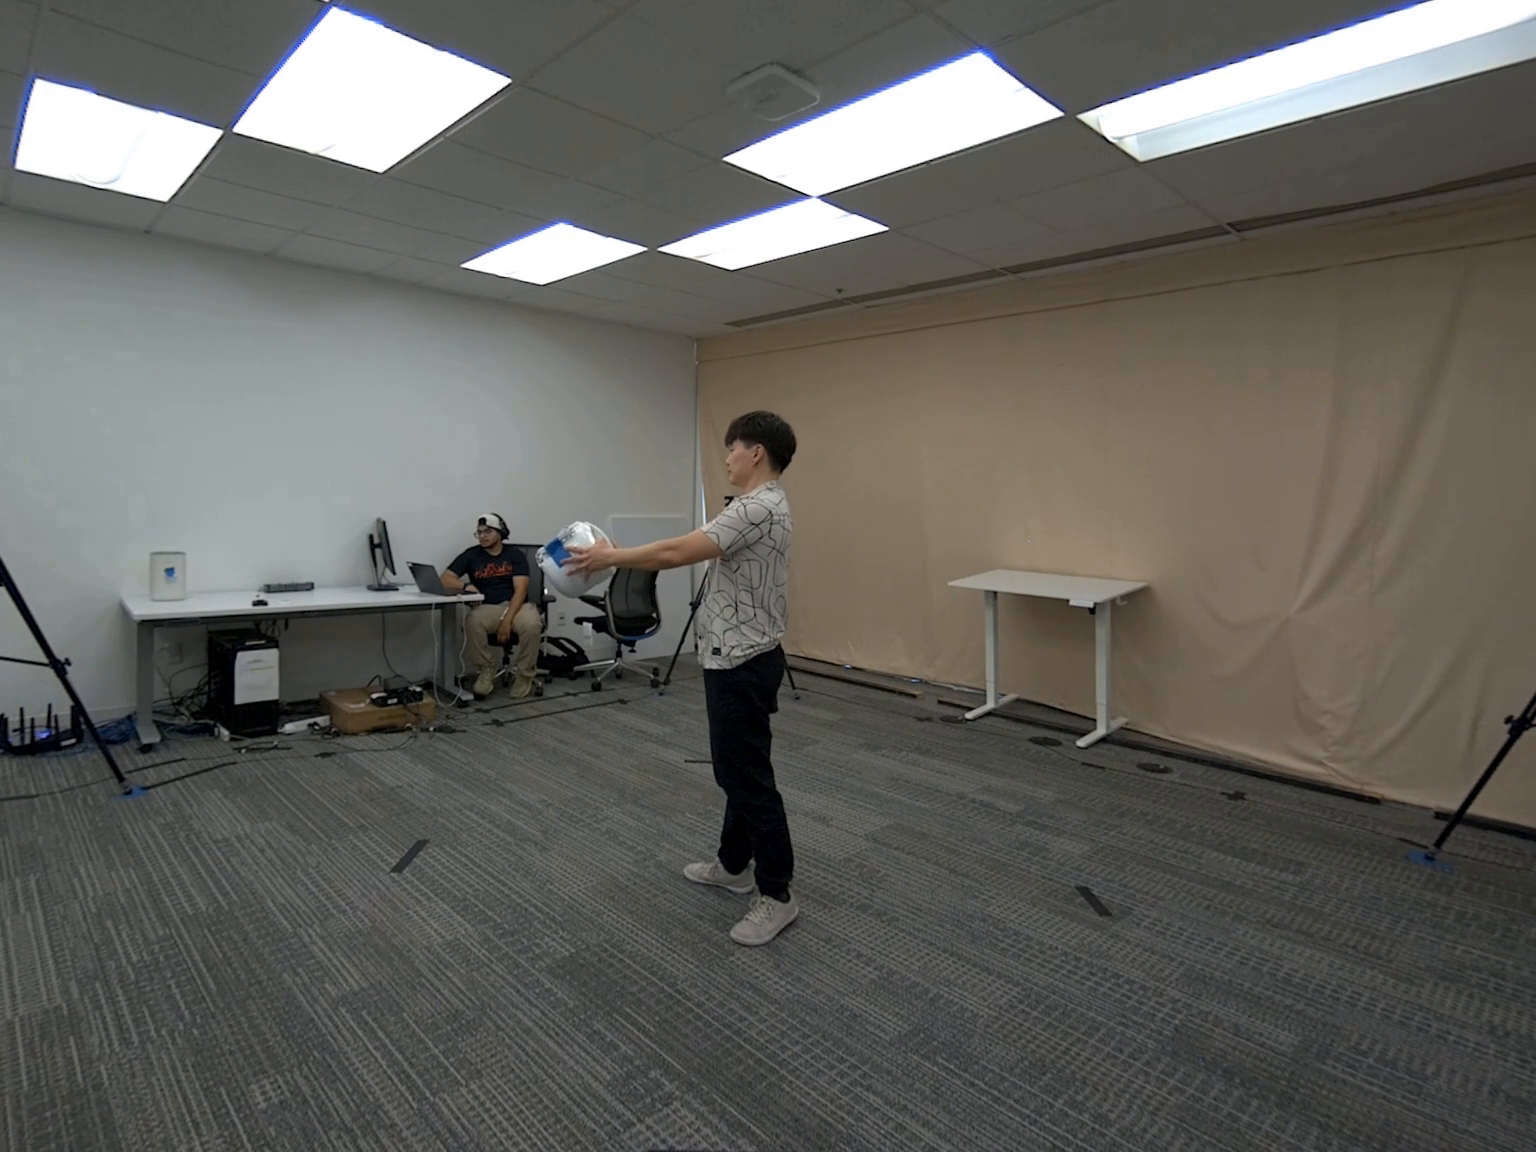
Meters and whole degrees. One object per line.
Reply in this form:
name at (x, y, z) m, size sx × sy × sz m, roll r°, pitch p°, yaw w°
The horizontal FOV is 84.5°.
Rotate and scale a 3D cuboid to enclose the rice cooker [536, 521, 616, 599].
rice cooker at (-0.636, -0.060, 2.873) m, size 0.233 × 0.221 × 0.217 m, roll -34°, pitch 0°, yaw 2°
